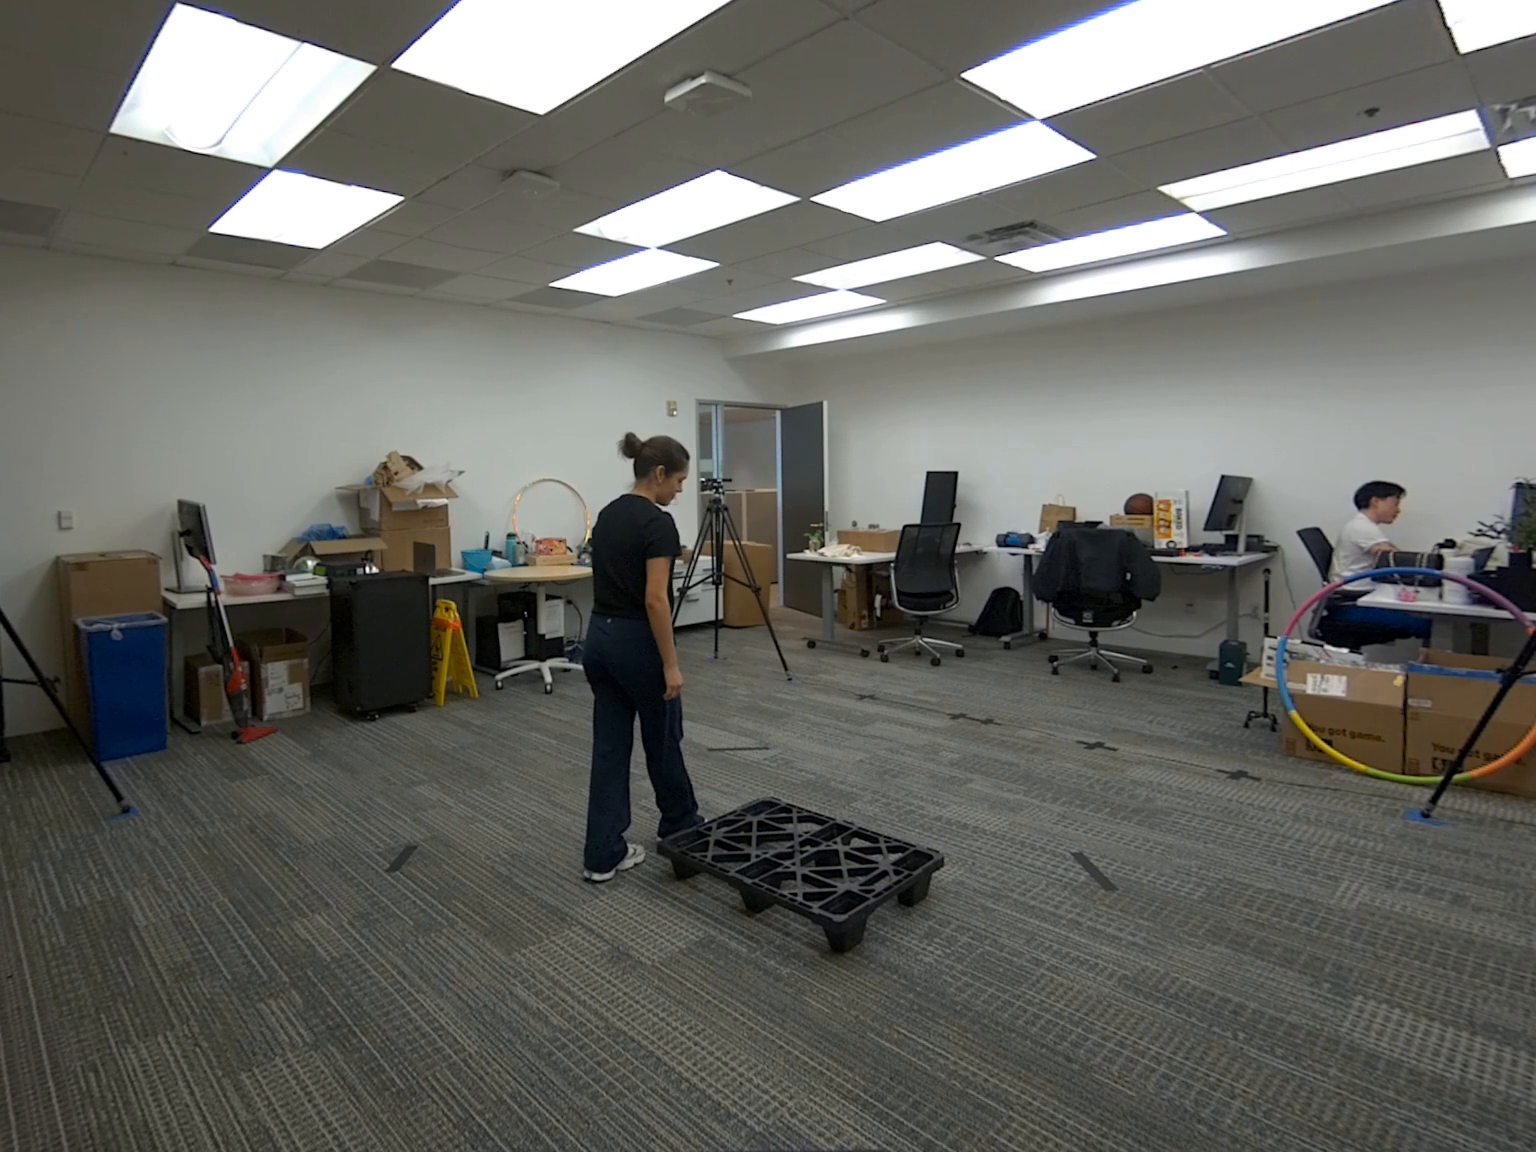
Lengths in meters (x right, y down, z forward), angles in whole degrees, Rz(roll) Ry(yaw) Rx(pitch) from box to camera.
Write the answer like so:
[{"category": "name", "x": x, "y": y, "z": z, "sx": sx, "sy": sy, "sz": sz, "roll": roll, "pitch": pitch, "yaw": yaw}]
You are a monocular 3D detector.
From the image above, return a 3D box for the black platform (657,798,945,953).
[{"category": "black platform", "x": 0.102, "y": 0.997, "z": 2.927, "sx": 0.830, "sy": 0.143, "sz": 0.589, "roll": 5, "pitch": 9, "yaw": 43}]
